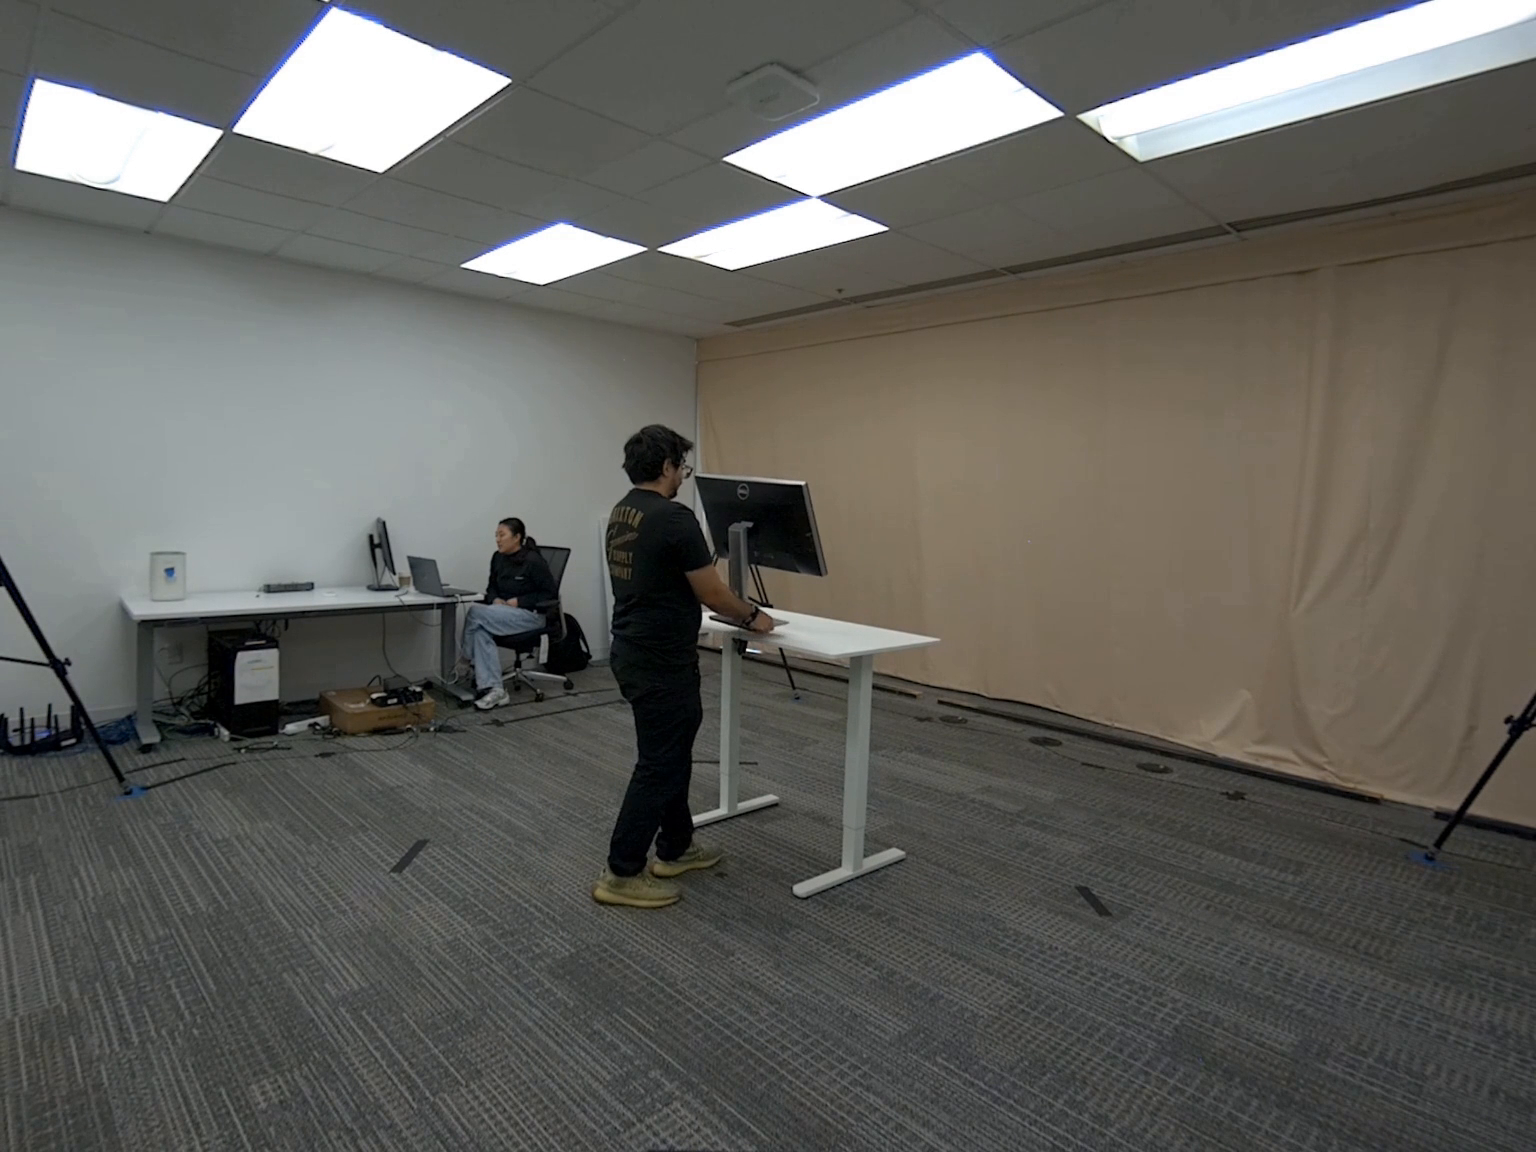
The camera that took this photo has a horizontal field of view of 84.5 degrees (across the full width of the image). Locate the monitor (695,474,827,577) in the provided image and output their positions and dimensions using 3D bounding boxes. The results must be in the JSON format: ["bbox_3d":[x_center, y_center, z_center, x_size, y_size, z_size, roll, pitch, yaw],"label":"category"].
[{"bbox_3d":[-0.080,-0.089,3.107,0.581,0.546,0.207,11,26,44],"label":"monitor"}]
